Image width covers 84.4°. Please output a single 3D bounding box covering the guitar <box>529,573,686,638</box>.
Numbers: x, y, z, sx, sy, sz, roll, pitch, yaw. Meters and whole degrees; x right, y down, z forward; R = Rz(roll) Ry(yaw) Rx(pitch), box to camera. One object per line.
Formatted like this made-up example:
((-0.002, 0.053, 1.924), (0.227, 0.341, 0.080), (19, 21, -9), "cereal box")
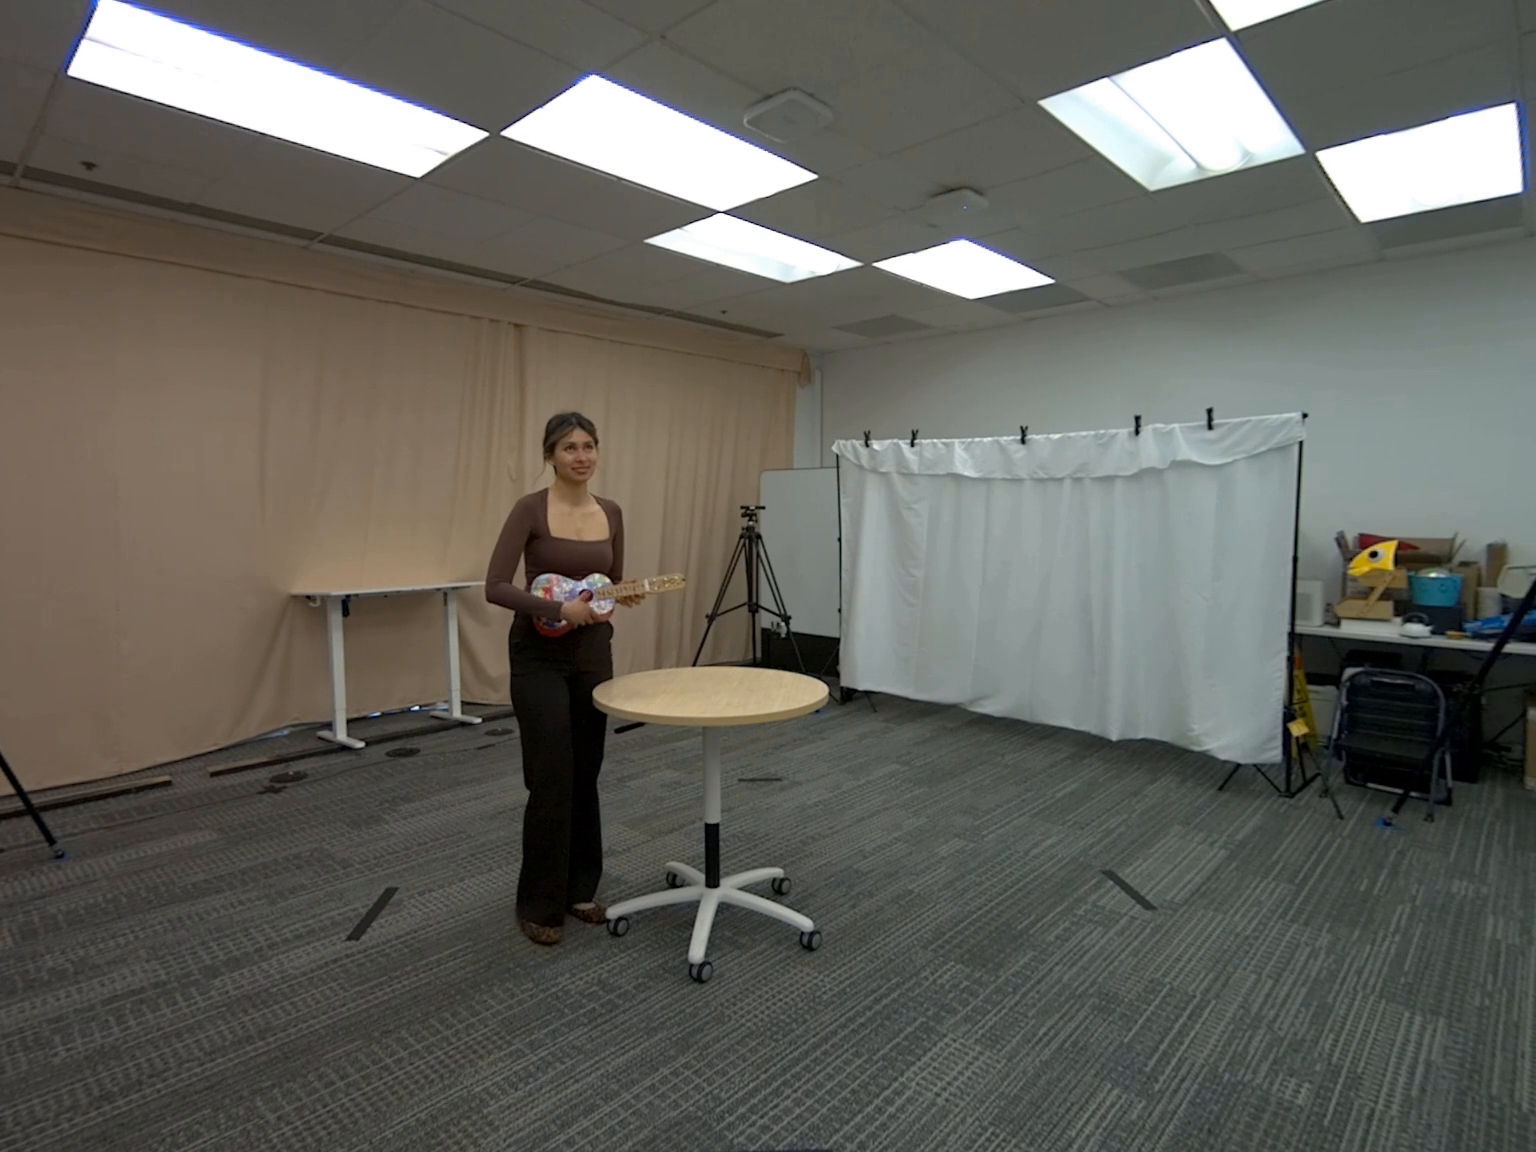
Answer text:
((-0.501, 0.092, 2.706), (0.492, 0.196, 0.070), (1, -29, -10), "guitar")
